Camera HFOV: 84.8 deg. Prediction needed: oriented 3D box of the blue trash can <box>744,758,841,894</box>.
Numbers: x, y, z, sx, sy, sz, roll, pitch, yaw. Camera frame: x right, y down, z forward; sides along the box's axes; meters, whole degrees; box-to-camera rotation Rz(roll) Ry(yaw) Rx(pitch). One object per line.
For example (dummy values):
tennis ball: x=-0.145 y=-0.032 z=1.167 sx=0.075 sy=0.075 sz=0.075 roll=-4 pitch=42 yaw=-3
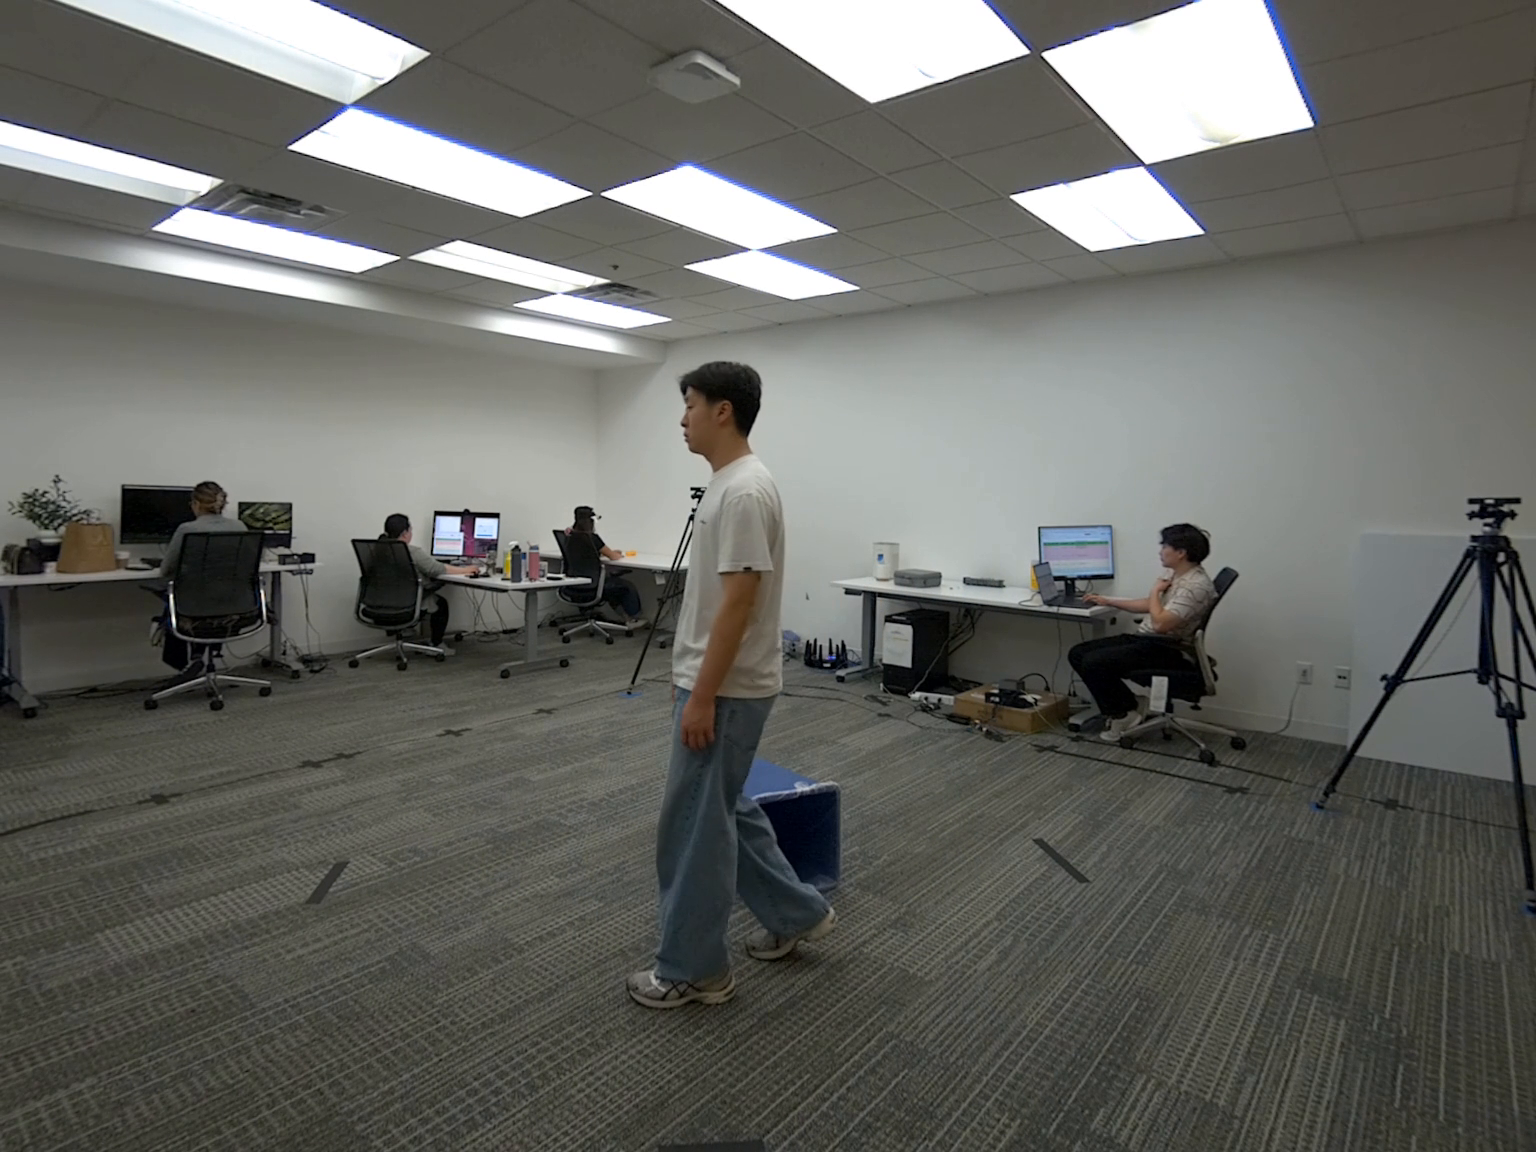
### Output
blue trash can: x=-0.094 y=0.893 z=3.196 sx=0.364 sy=0.377 sz=0.734 roll=-1 pitch=3 yaw=-31
